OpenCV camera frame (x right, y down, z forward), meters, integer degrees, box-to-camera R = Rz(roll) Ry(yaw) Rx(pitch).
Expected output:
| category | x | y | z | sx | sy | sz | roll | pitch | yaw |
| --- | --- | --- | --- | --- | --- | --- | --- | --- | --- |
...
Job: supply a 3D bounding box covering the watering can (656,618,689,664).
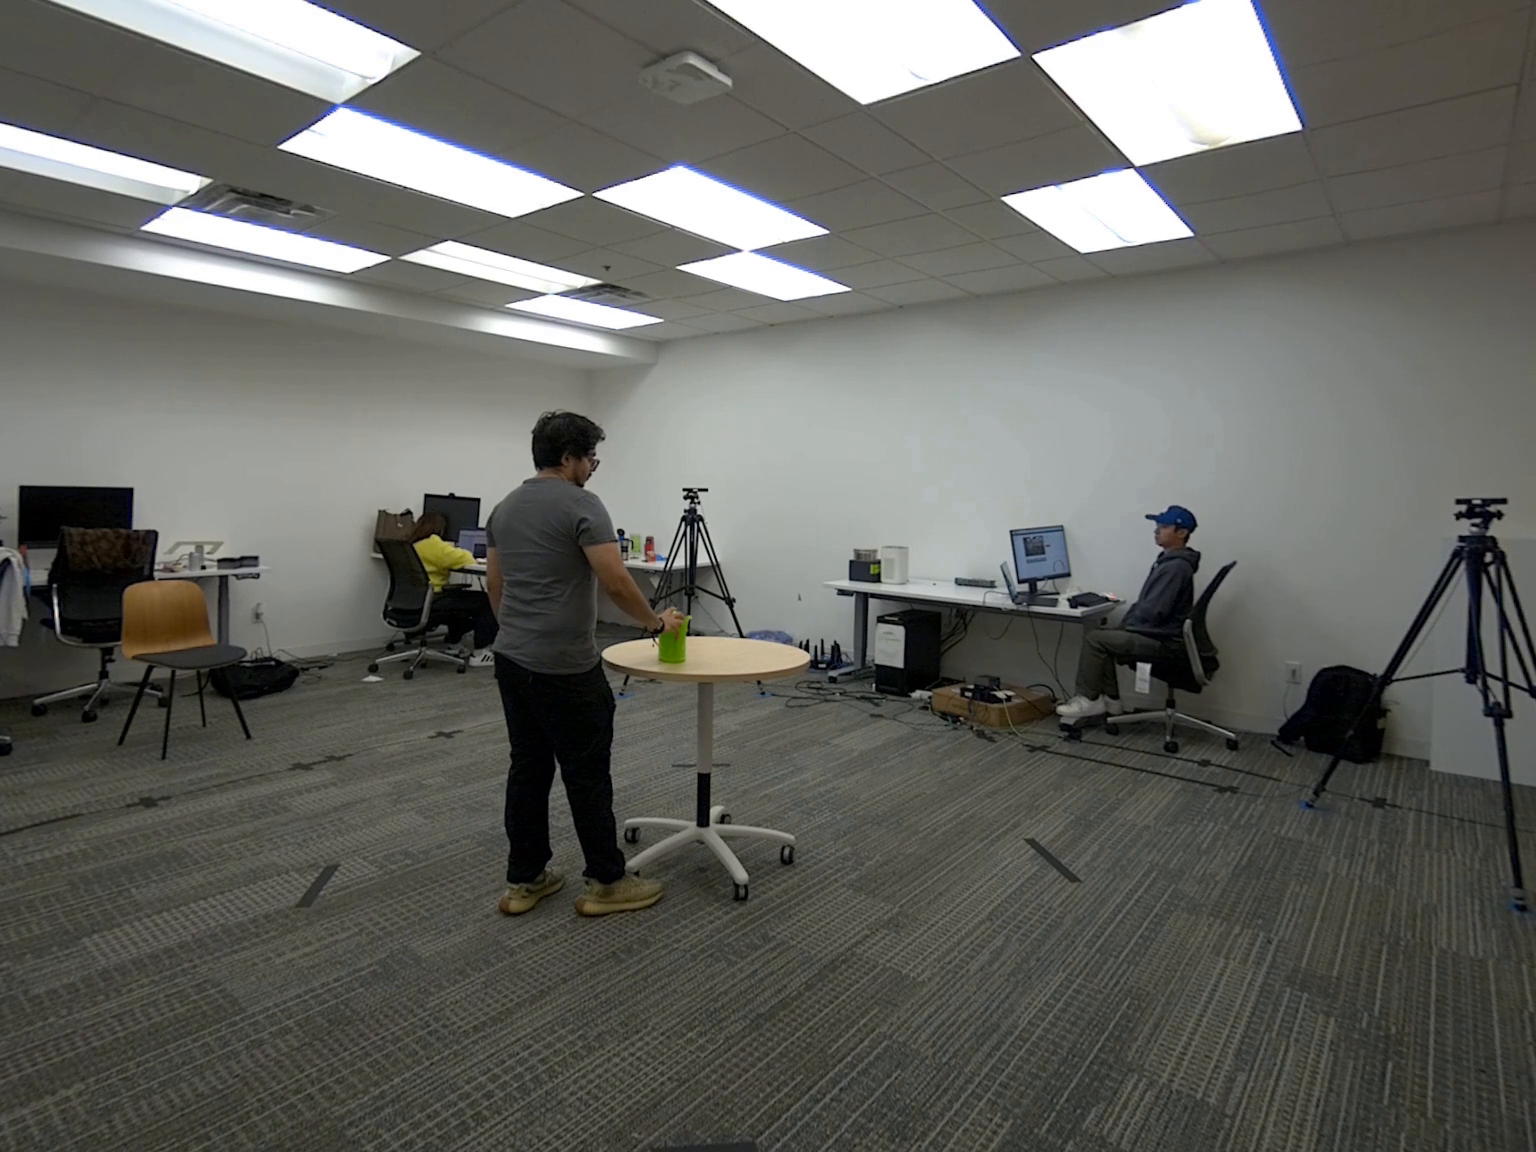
| category | x | y | z | sx | sy | sz | roll | pitch | yaw |
| --- | --- | --- | --- | --- | --- | --- | --- | --- | --- |
| watering can | -0.340 | 0.215 | 2.955 | 0.096 | 0.177 | 0.283 | 1 | 2 | -16 |
